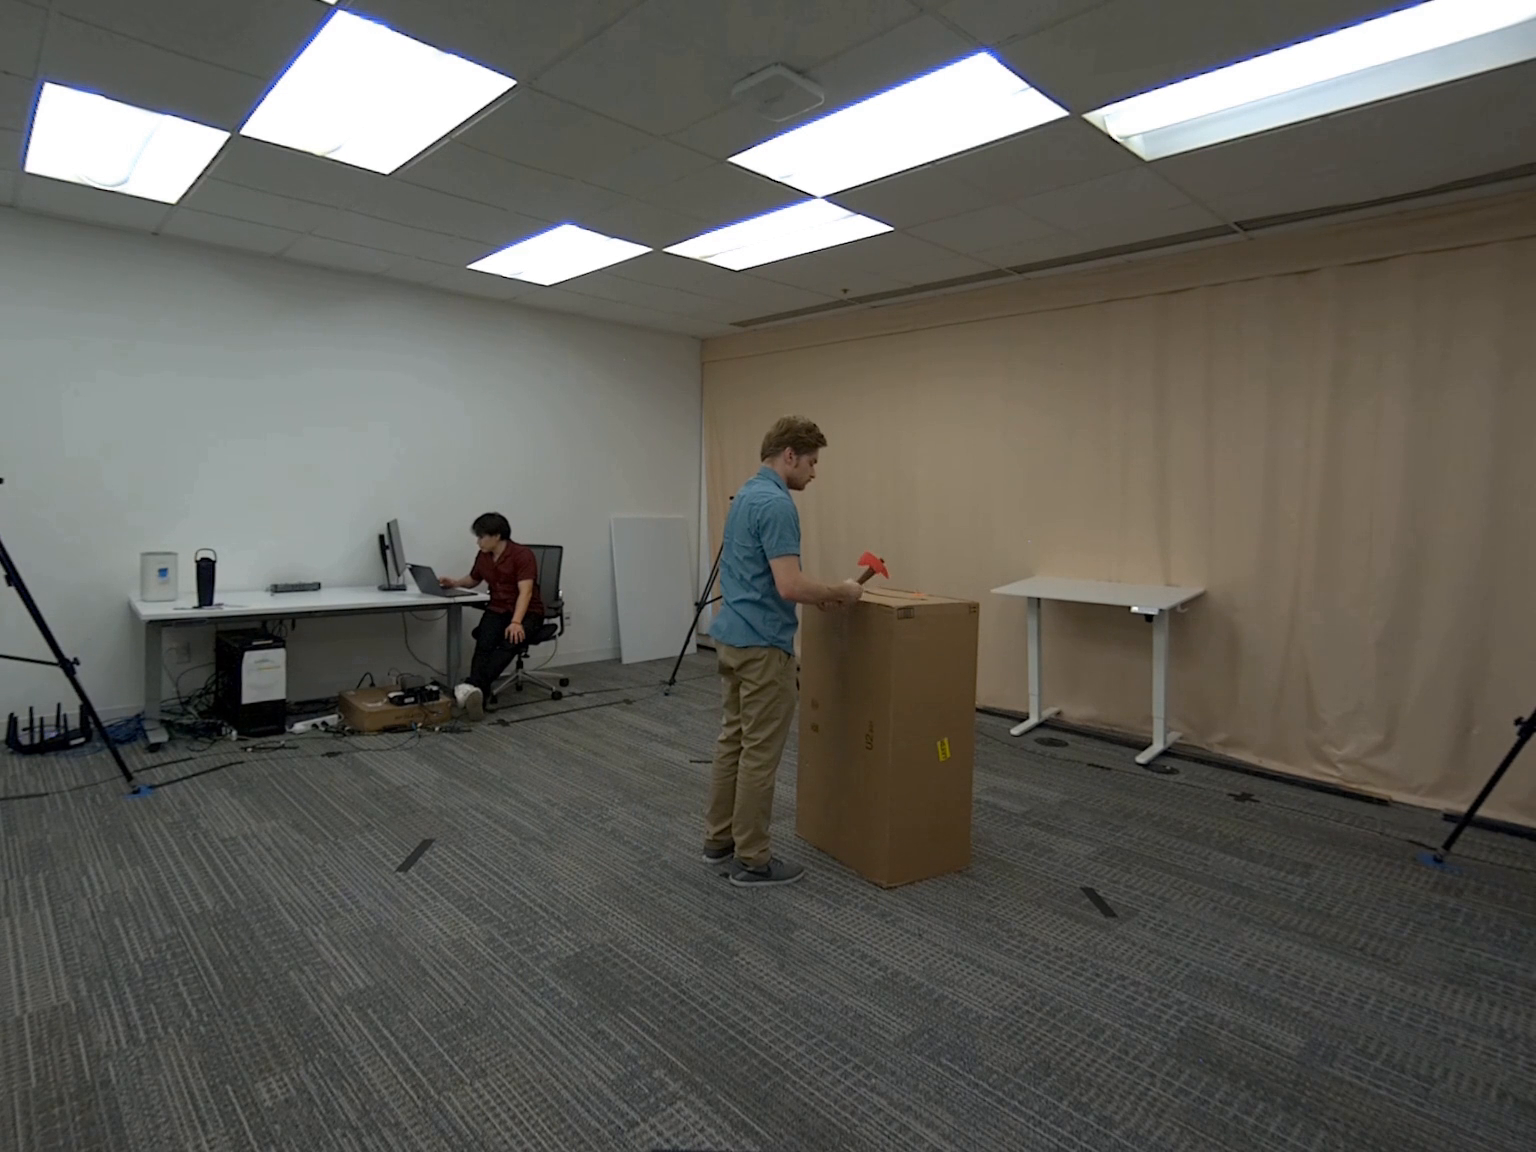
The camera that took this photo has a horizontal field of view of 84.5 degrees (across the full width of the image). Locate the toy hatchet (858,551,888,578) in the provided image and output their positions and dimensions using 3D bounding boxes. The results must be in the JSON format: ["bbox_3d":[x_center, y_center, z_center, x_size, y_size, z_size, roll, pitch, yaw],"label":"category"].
[{"bbox_3d":[0.304,0.008,3.080,0.269,0.130,0.030,-18,5,-7],"label":"toy hatchet"}]
